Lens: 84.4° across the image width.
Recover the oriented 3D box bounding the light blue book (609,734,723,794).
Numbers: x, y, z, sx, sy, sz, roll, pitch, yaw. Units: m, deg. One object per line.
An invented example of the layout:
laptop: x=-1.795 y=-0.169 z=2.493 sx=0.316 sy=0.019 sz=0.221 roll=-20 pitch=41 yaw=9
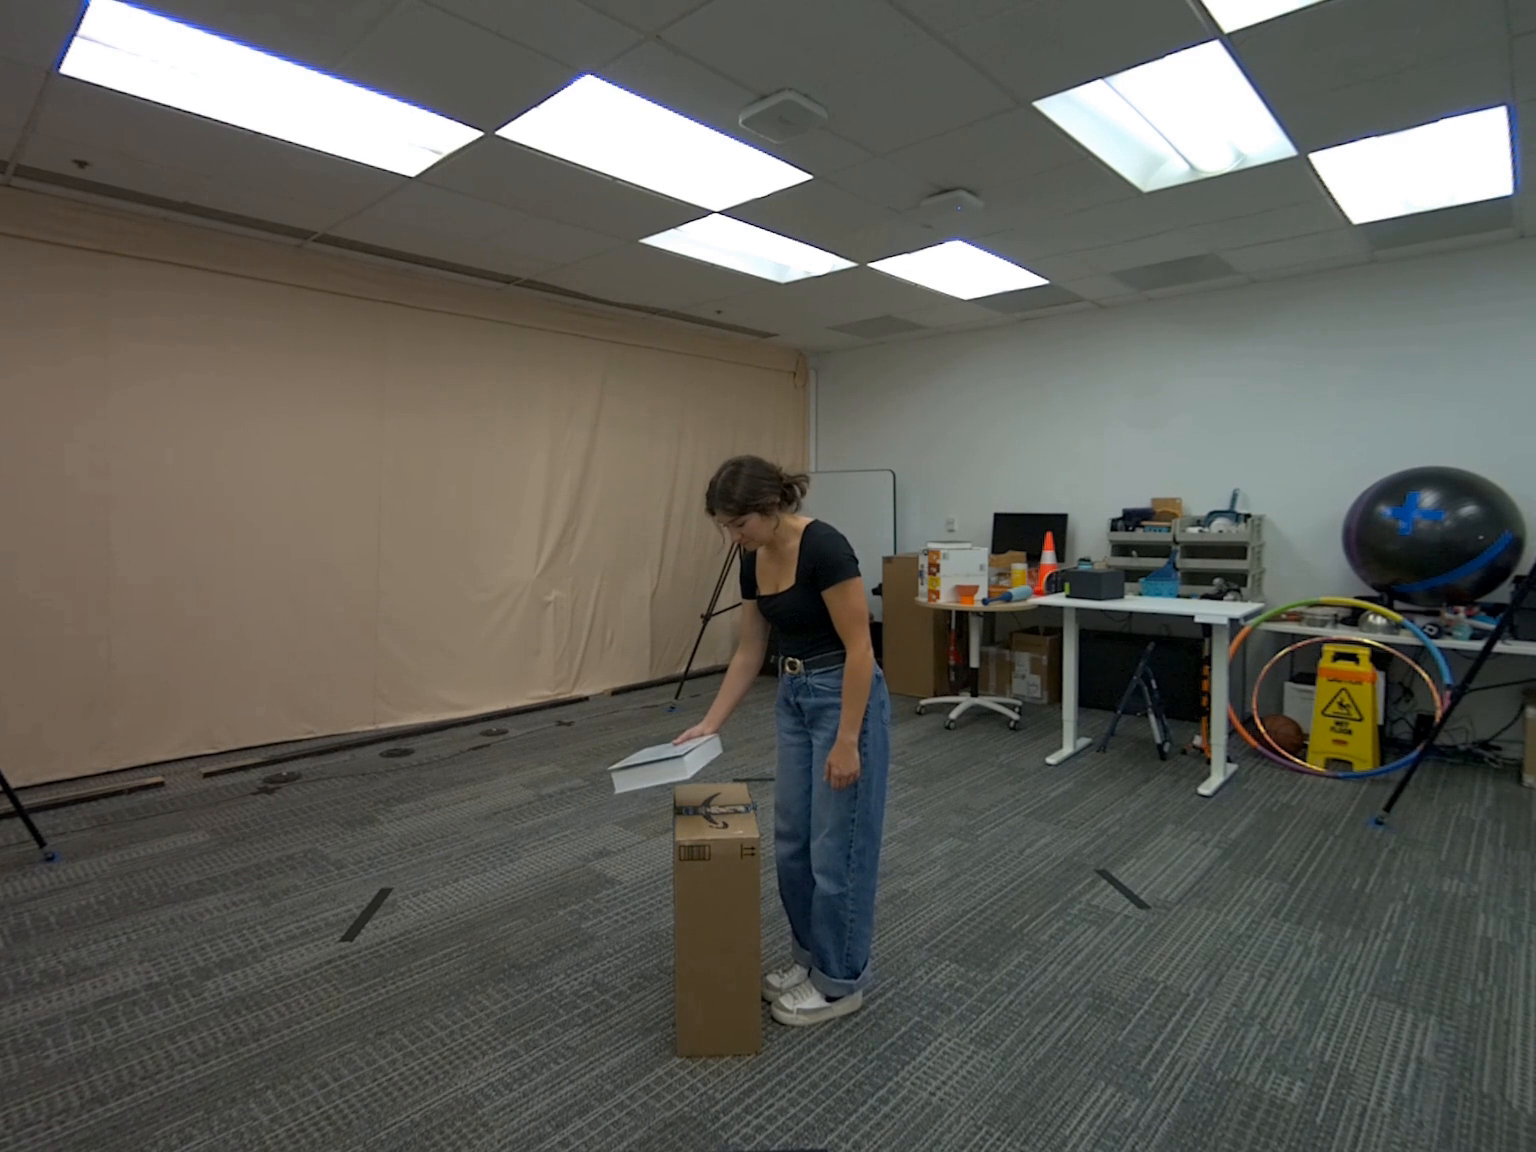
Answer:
light blue book: x=-0.282 y=0.518 z=2.305 sx=0.266 sy=0.059 sz=0.187 roll=-18 pitch=0 yaw=30
